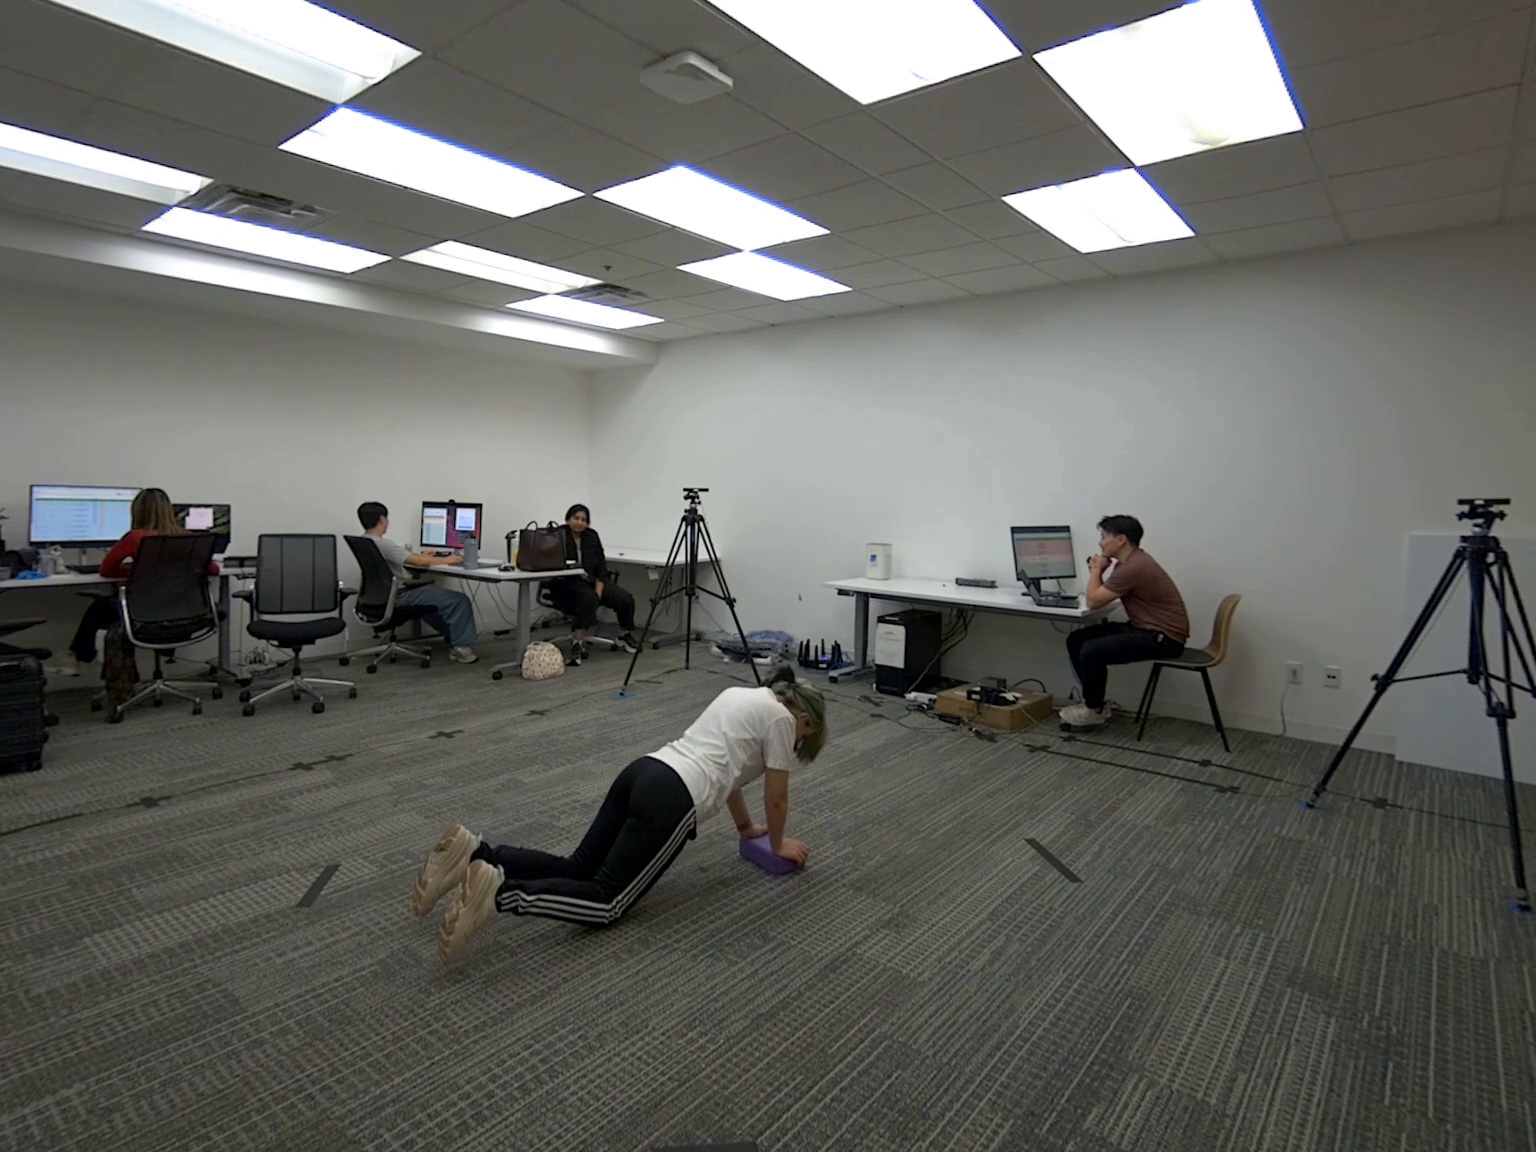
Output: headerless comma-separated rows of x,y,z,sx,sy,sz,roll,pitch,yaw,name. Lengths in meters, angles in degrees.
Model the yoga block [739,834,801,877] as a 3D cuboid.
0.006,1.029,3.191,0.144,0.076,0.237,-1,4,-38,yoga block
